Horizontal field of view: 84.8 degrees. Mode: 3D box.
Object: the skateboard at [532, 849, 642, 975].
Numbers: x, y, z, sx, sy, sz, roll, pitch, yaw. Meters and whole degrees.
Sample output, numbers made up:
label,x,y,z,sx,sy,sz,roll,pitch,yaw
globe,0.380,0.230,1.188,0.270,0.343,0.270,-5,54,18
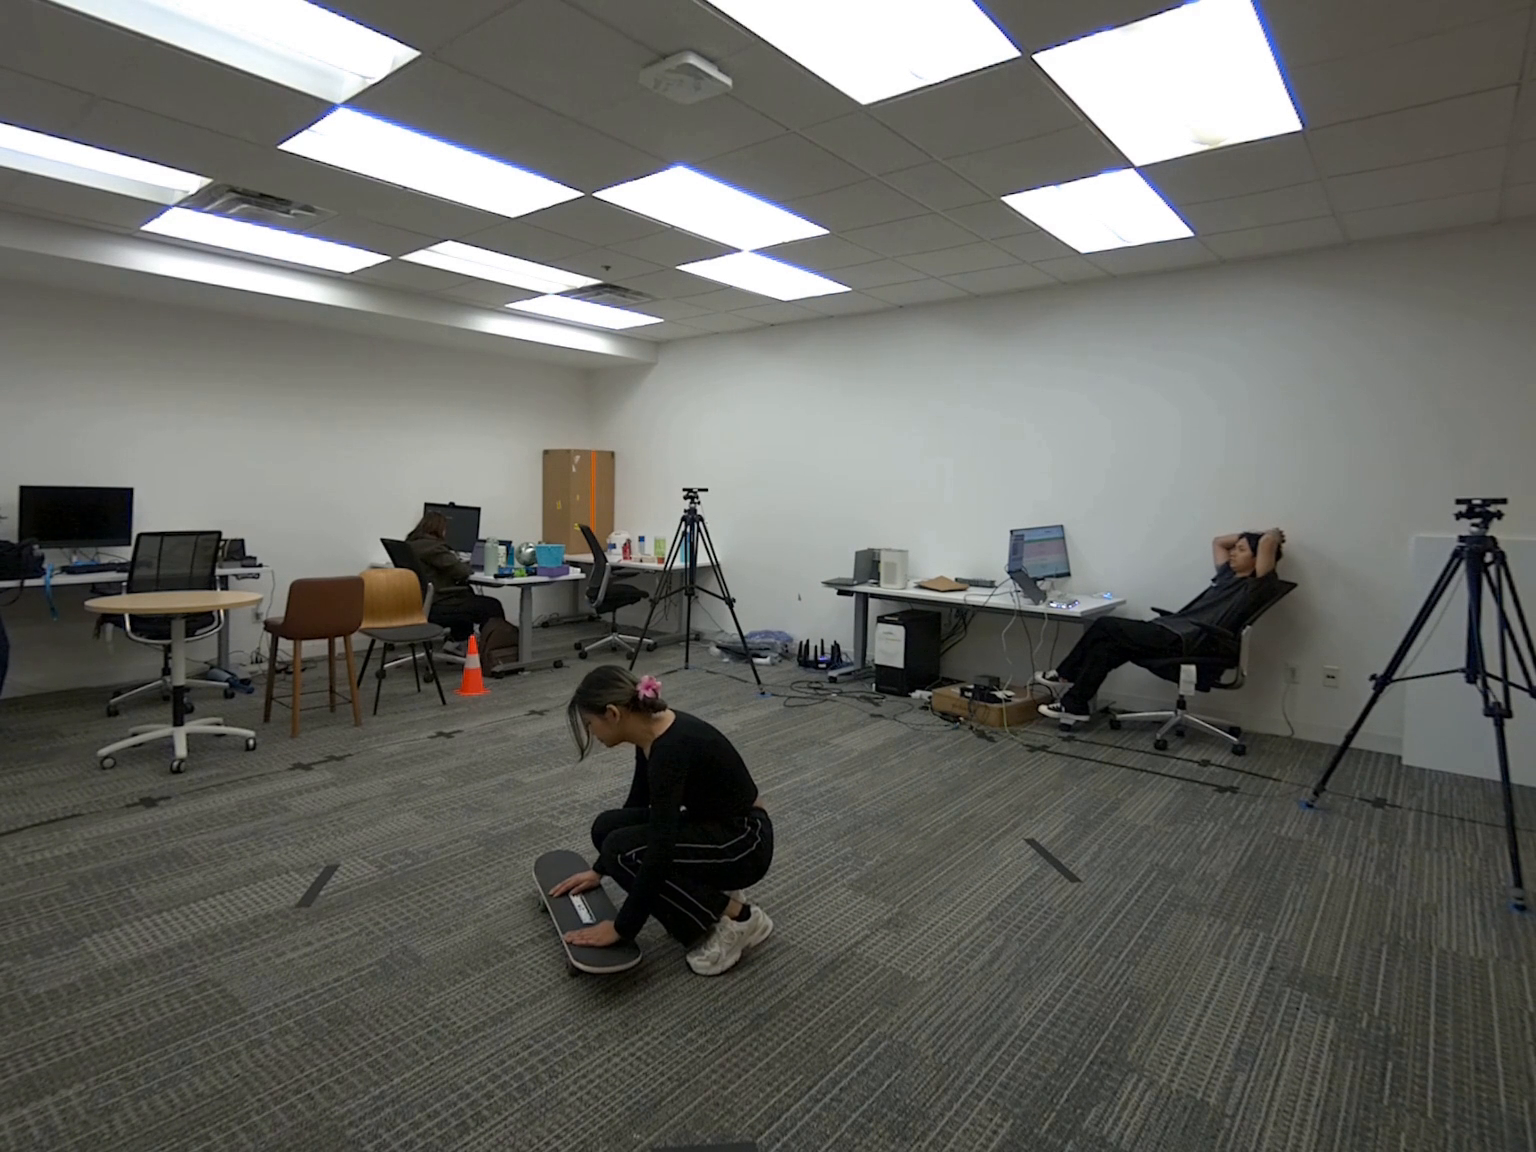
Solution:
label,x,y,z,sx,sy,sz,roll,pitch,yaw
skateboard,-0.588,1.055,2.636,0.189,0.110,0.807,-1,6,-25
